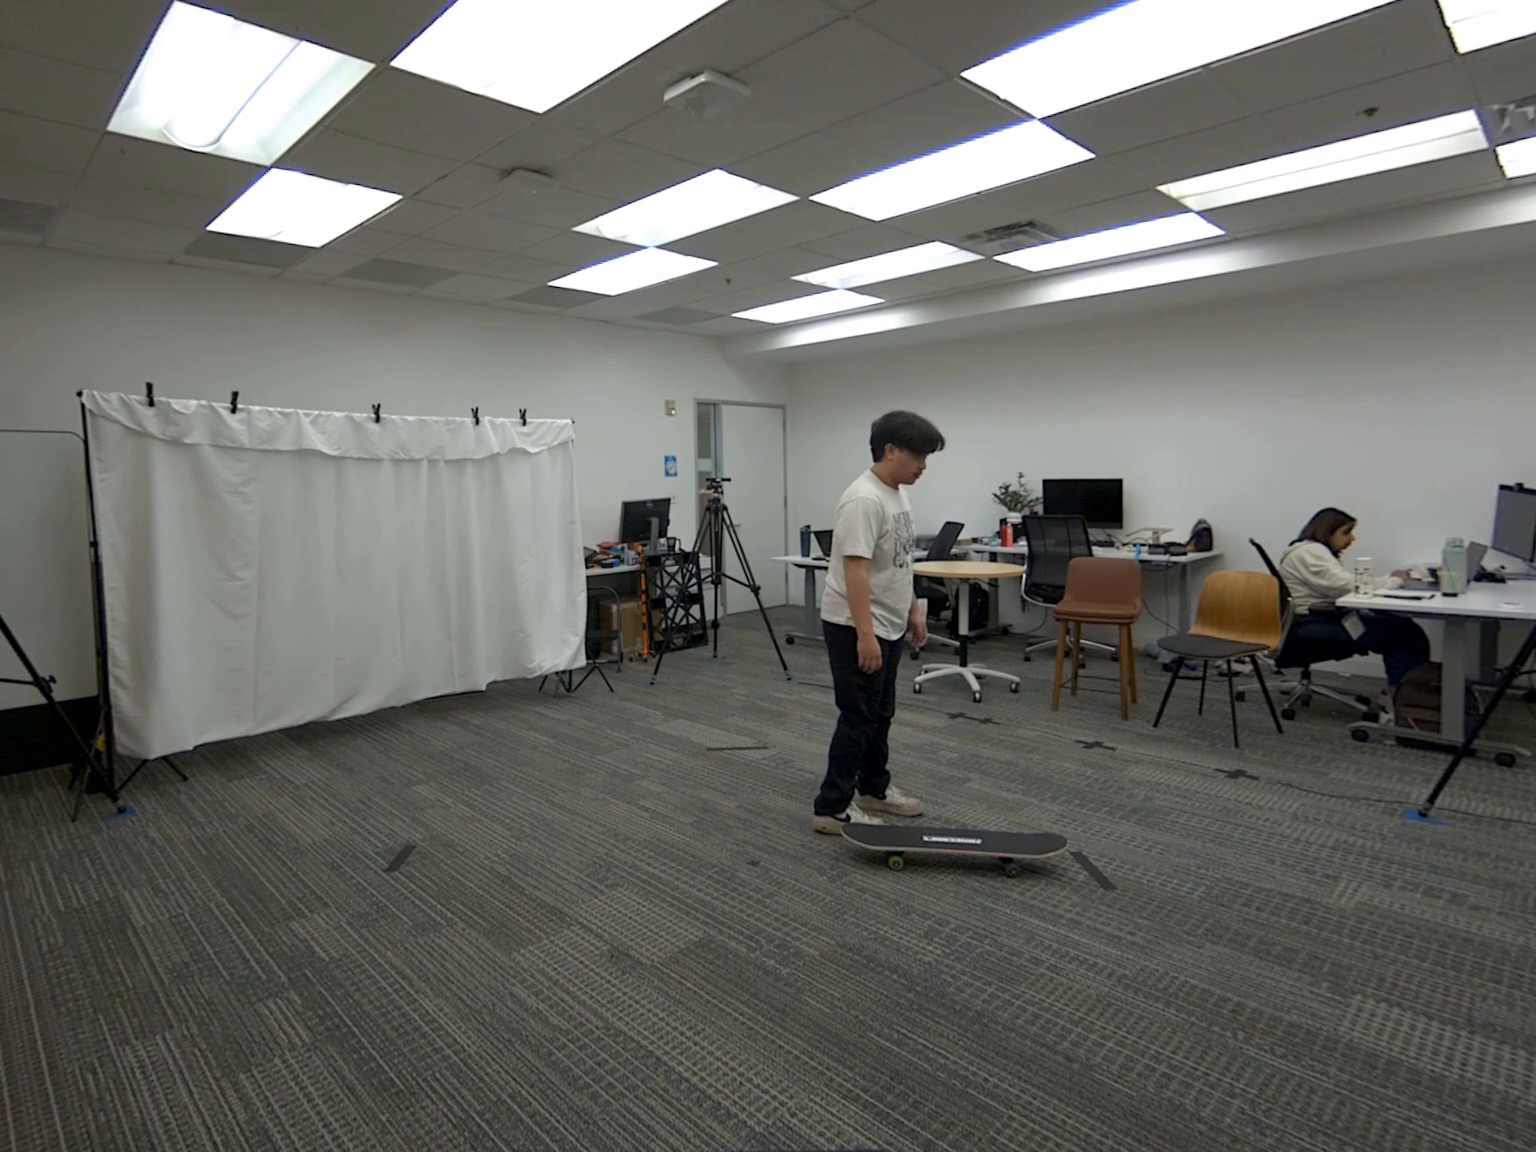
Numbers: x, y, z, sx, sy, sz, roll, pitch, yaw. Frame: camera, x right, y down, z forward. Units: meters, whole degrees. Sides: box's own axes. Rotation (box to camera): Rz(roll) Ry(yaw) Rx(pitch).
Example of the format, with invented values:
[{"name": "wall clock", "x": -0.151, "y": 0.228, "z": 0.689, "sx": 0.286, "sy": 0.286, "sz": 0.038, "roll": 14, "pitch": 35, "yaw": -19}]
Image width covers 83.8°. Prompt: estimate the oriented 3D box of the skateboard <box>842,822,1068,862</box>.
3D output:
[{"name": "skateboard", "x": 0.659, "y": 0.979, "z": 3.073, "sx": 0.793, "sy": 0.110, "sz": 0.192, "roll": -1, "pitch": 6, "yaw": 10}]
